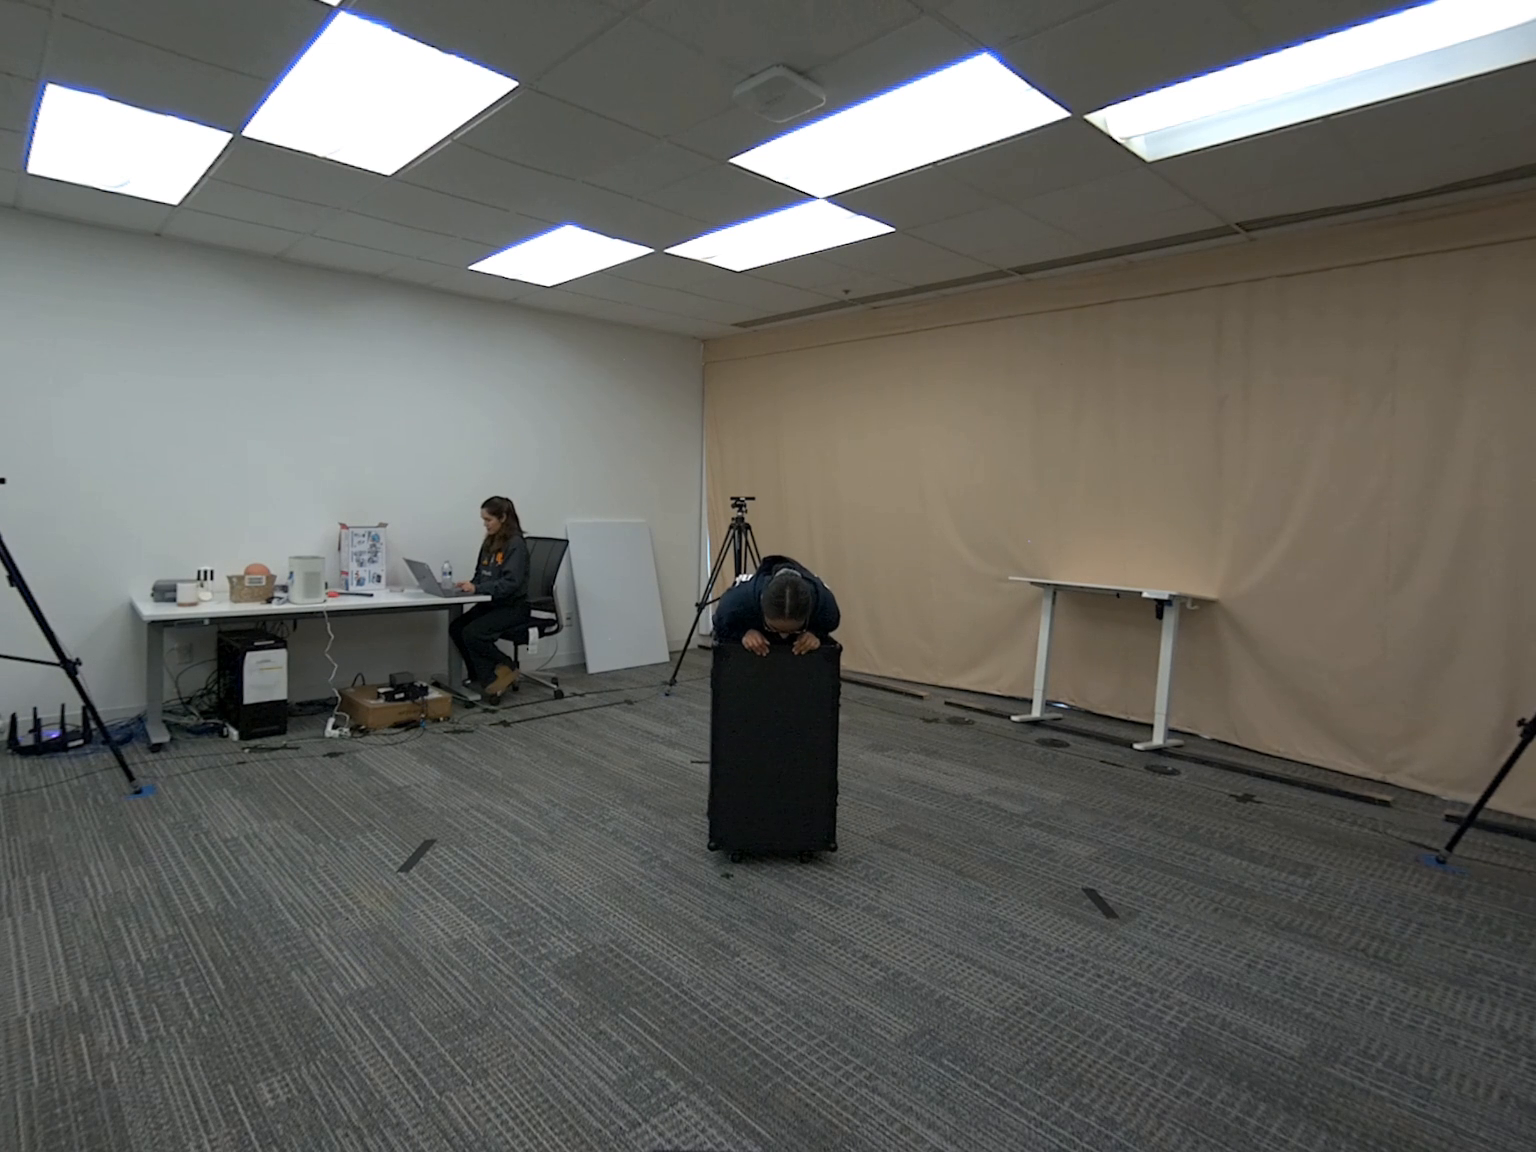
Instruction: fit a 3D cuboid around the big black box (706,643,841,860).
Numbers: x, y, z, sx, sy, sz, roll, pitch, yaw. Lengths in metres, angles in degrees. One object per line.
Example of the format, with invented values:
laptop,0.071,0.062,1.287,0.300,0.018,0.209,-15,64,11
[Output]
big black box,0.006,0.670,3.337,0.520,0.860,0.397,1,2,-2
